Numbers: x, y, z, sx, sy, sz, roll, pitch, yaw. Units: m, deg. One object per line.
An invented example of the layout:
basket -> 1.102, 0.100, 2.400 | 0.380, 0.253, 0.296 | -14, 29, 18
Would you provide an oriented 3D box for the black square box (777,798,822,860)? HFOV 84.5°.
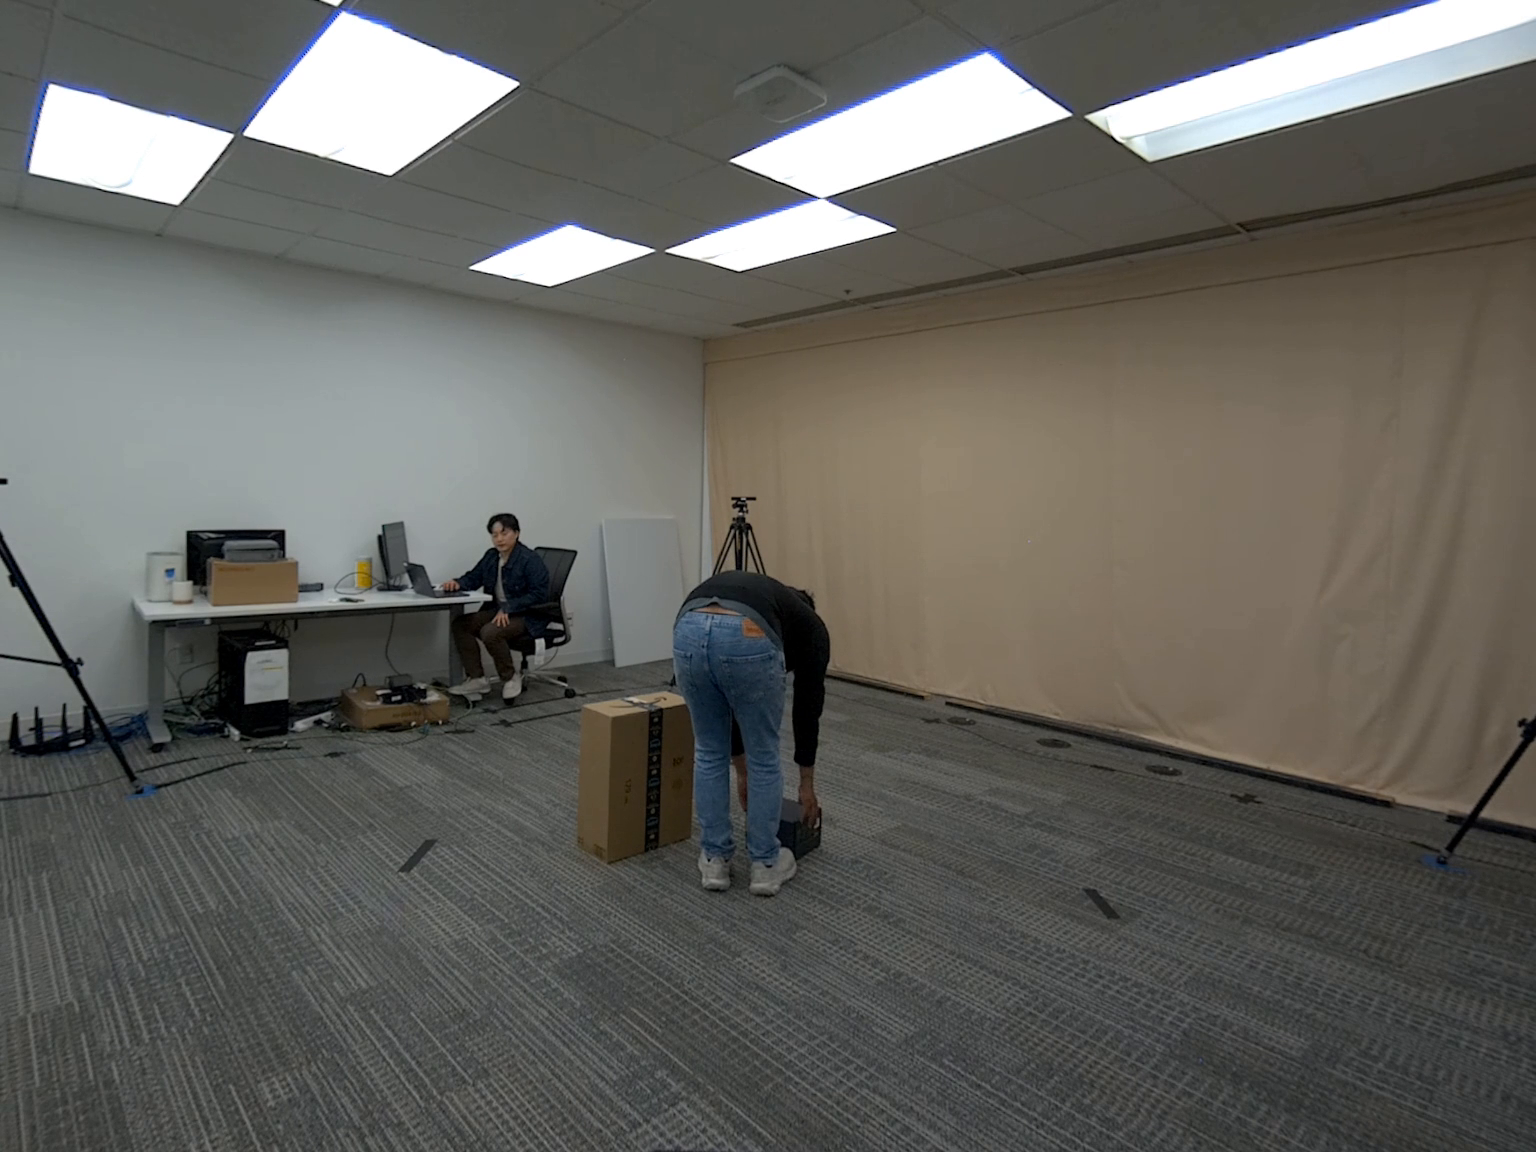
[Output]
black square box -> 0.054, 1.004, 3.369 | 0.233, 0.155, 0.212 | 4, 5, 32
